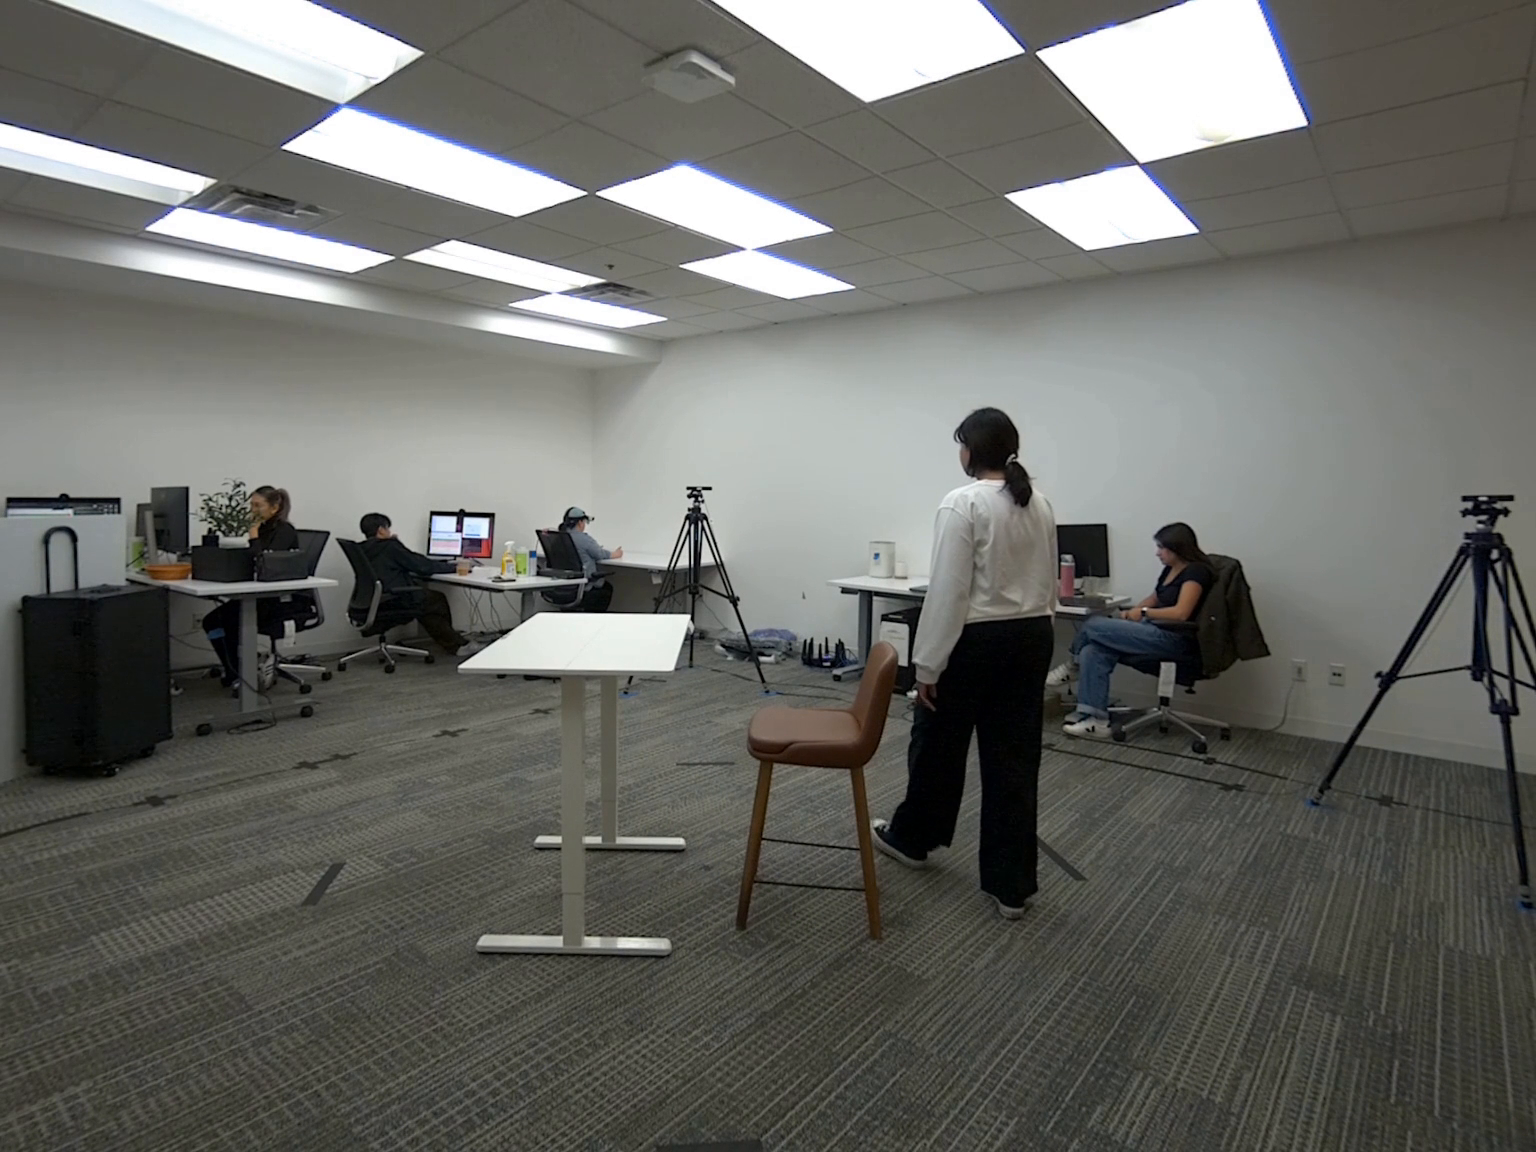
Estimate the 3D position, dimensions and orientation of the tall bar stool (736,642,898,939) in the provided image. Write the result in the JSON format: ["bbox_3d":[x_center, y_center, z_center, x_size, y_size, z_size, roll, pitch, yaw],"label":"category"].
[{"bbox_3d":[0.161,0.664,2.827,0.472,0.887,0.454,4,3,7],"label":"tall bar stool"}]
